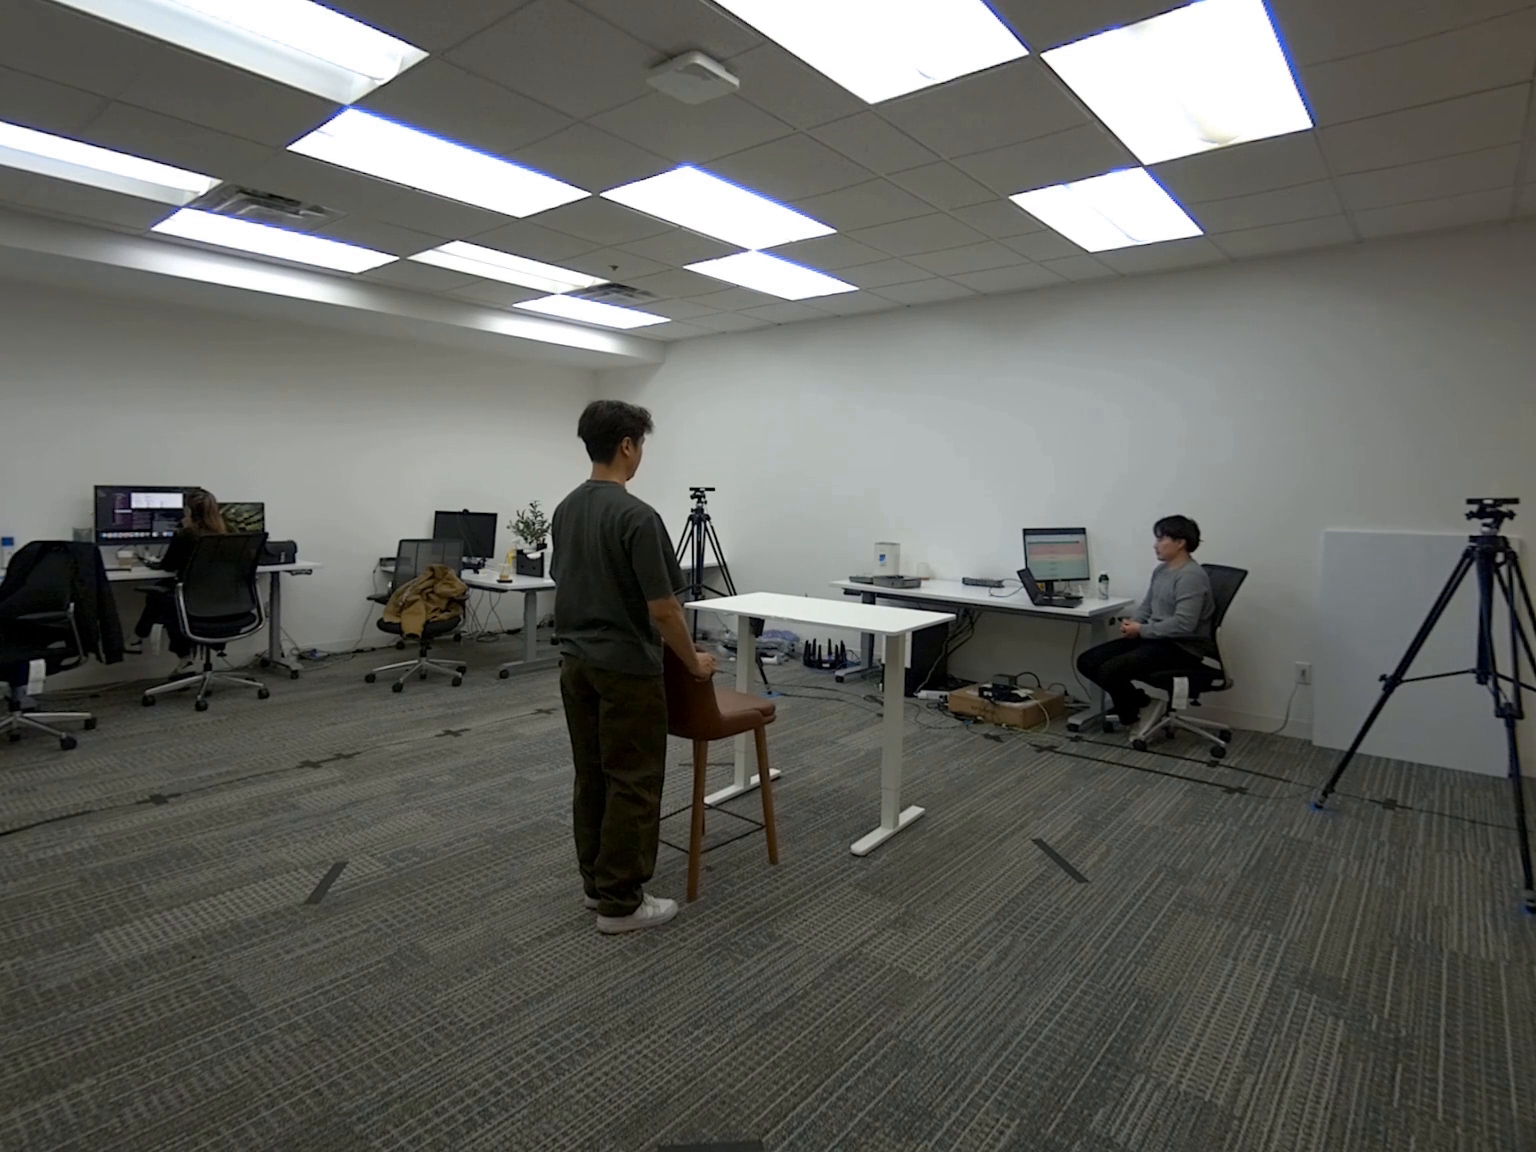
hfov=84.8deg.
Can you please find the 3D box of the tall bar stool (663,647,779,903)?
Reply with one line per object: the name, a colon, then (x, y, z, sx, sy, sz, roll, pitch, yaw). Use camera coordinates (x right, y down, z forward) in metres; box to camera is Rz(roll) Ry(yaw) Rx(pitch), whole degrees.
tall bar stool: (-0.263, 0.629, 3.111, 0.472, 0.886, 0.454, 3, 5, 41)
